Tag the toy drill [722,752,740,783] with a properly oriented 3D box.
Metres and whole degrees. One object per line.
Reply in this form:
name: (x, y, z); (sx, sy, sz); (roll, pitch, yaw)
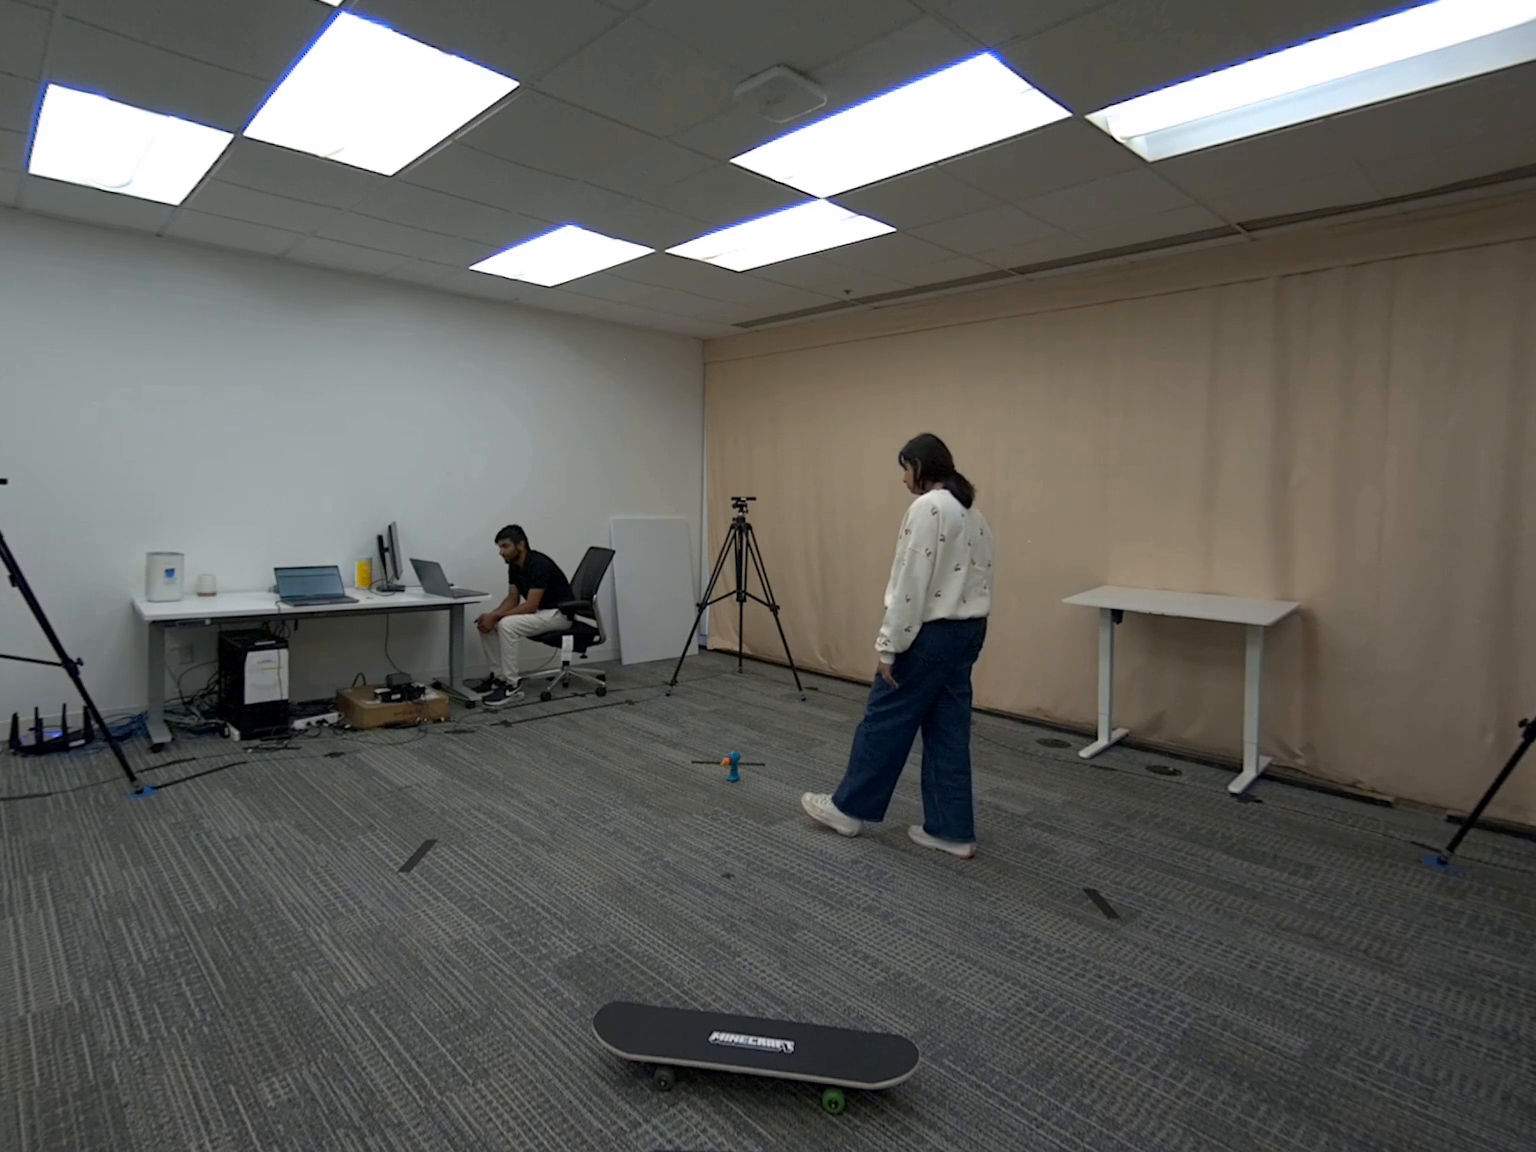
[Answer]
toy drill: (-0.194, 0.940, 4.147); (0.062, 0.146, 0.167); (5, 4, 21)
